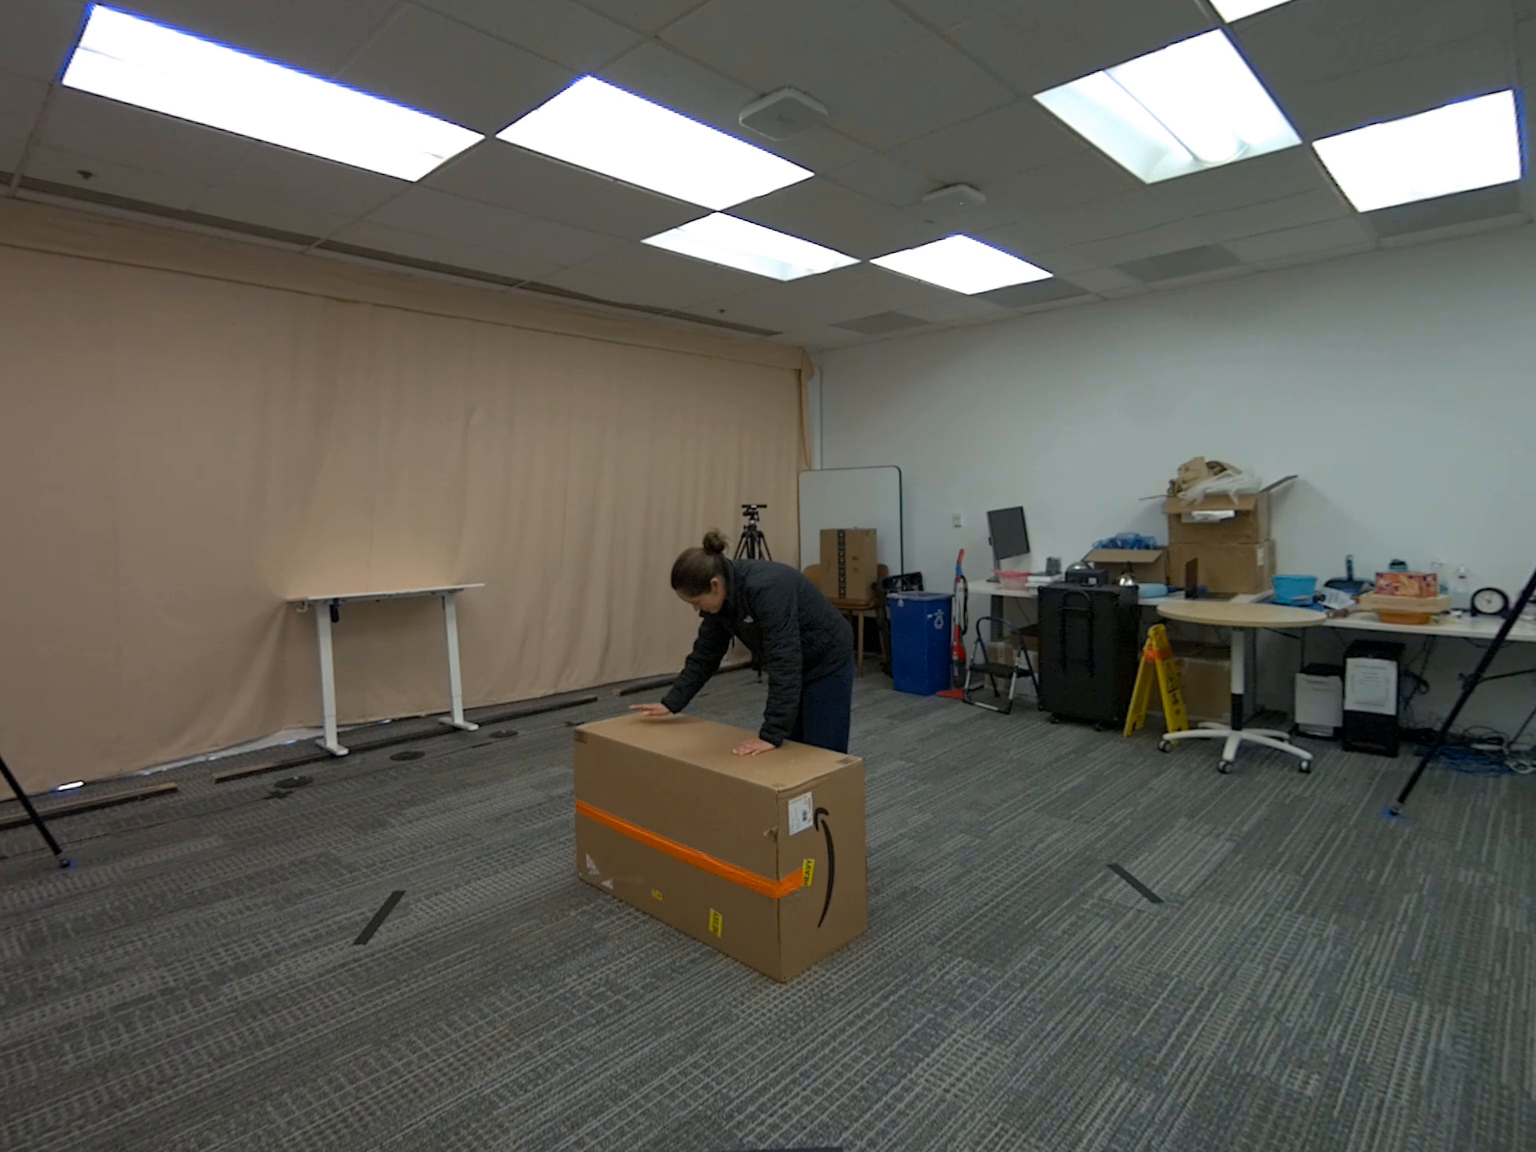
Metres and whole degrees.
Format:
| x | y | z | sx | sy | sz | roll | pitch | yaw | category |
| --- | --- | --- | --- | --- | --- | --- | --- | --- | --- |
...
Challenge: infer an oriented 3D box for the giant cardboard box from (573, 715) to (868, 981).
| x | y | z | sx | sy | sz | roll | pitch | yaw | category |
| --- | --- | --- | --- | --- | --- | --- | --- | --- | --- |
| -0.192 | 0.863 | 2.933 | 1.061 | 0.583 | 0.433 | 3 | 4 | 44 | giant cardboard box |
